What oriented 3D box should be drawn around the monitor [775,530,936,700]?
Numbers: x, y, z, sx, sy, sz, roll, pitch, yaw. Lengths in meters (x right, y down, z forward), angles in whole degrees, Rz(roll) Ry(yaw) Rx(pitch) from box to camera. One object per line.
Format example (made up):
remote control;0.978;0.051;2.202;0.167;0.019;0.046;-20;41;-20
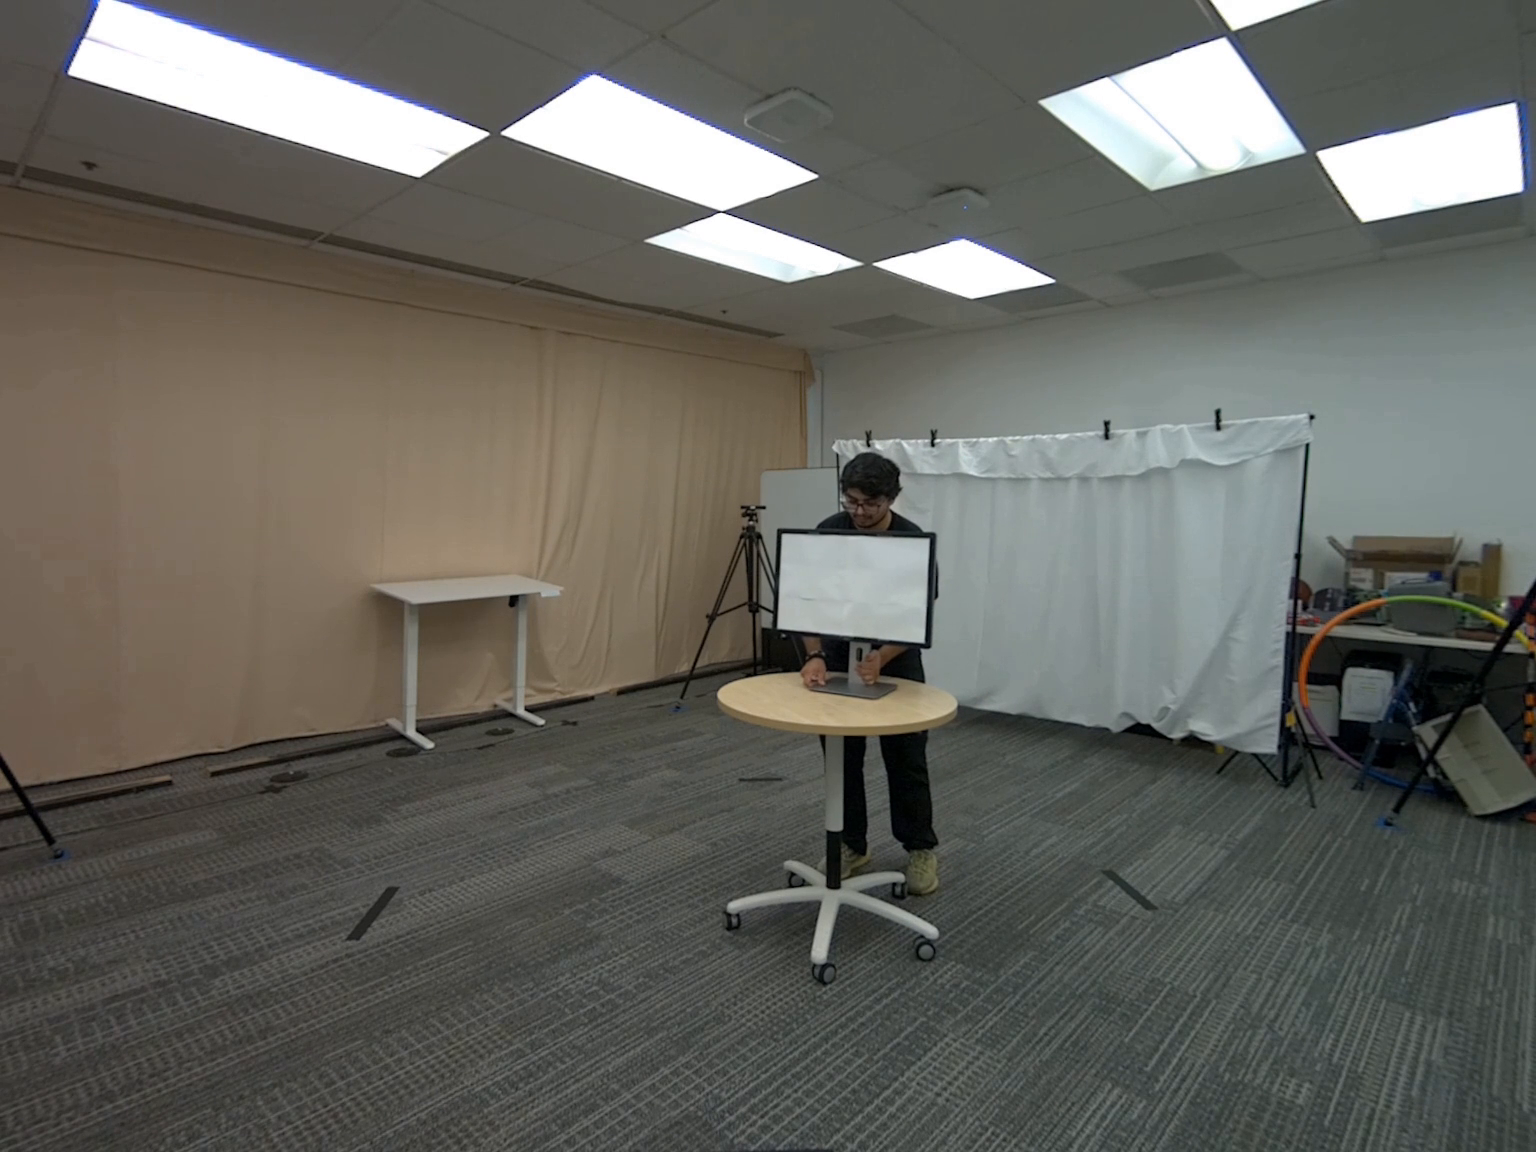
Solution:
monitor;0.310;0.115;2.826;0.583;0.553;0.204;3;3;33
